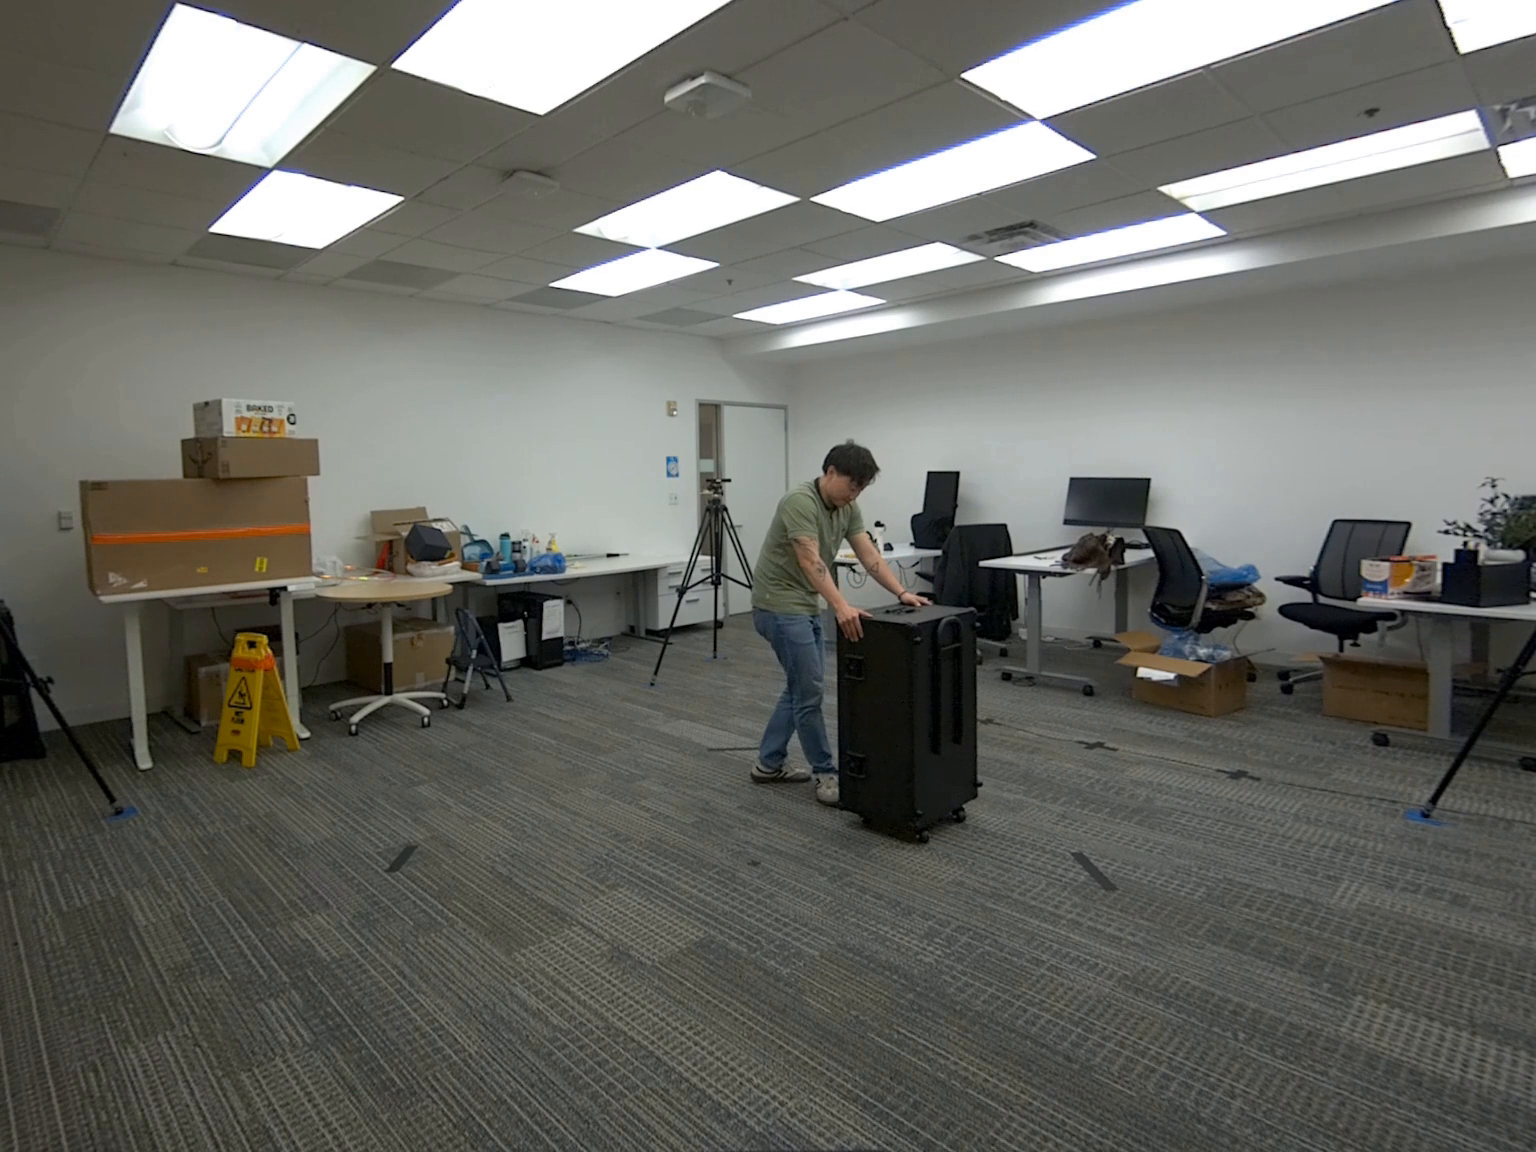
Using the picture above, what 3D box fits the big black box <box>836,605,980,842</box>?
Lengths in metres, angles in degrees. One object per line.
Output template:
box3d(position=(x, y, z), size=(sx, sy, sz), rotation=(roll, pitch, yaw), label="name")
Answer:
box3d(position=(0.588, 0.572, 3.443), size=(0.408, 0.858, 0.507), rotation=(4, 6, 42), label="big black box")
